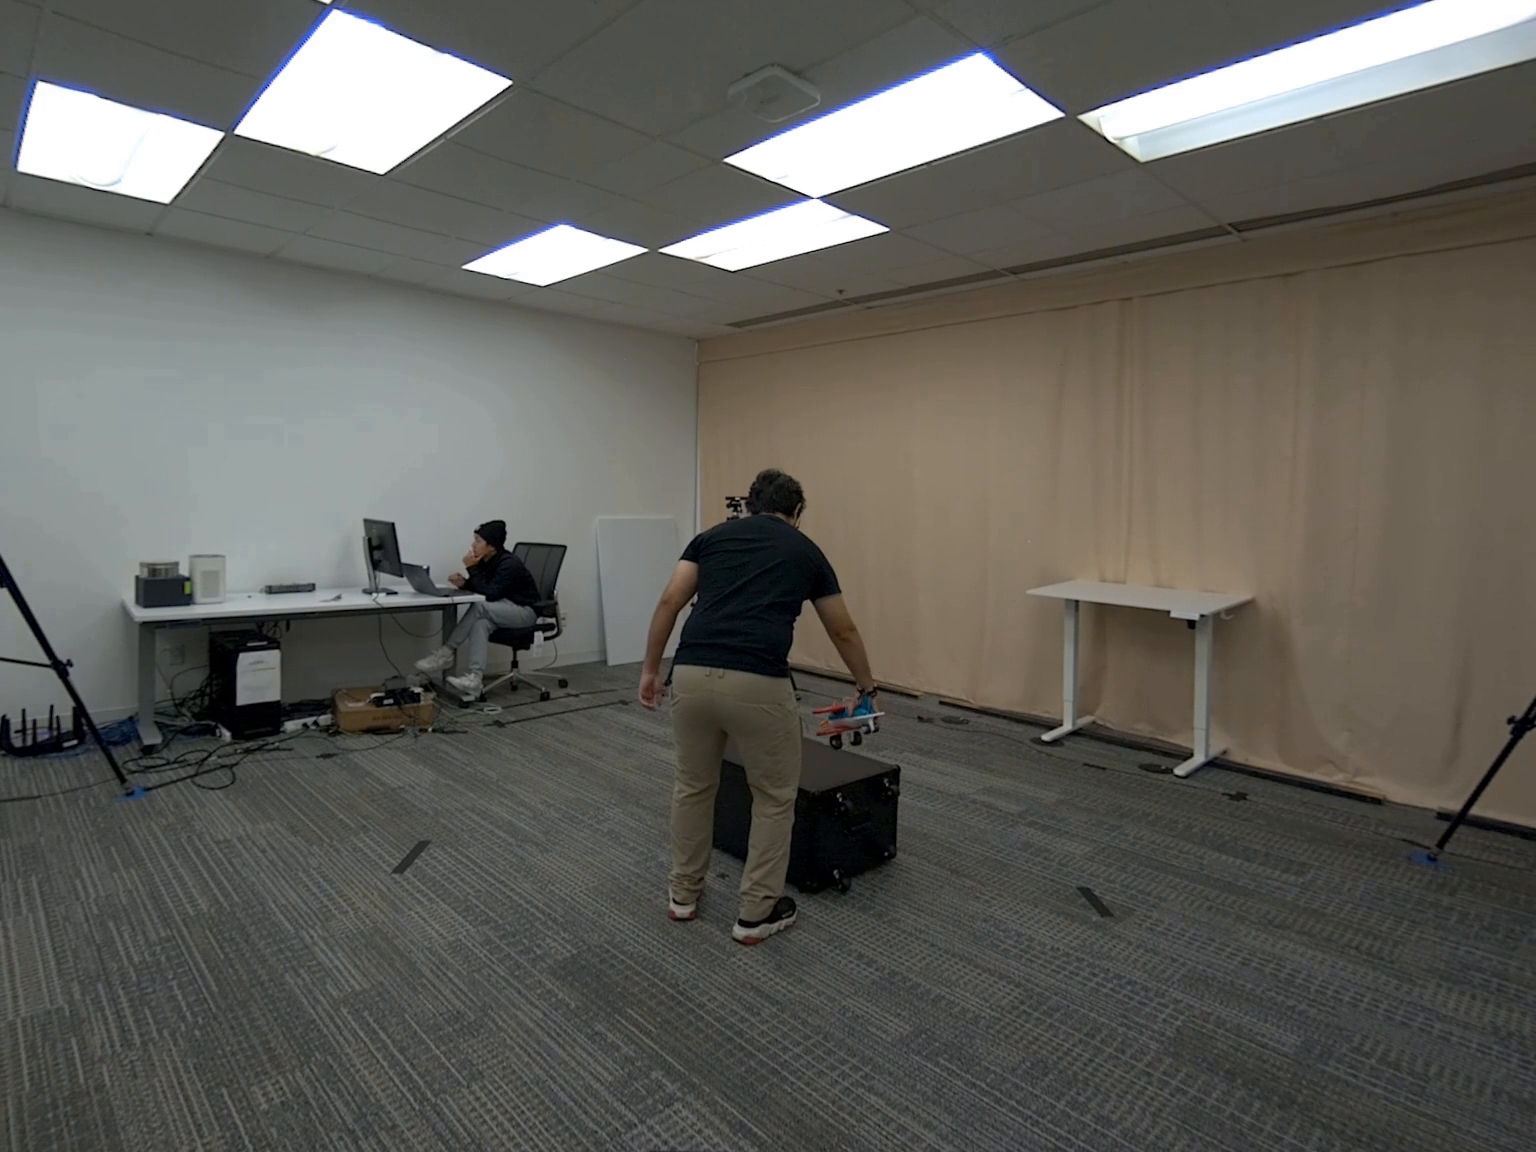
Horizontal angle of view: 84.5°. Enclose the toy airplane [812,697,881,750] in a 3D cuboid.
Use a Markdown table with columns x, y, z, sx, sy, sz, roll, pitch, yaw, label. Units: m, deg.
| x | y | z | sx | sy | sz | roll | pitch | yaw | label |
| --- | --- | --- | --- | --- | --- | --- | --- | --- | --- |
| 0.312 | 0.518 | 3.054 | 0.261 | 0.159 | 0.244 | -30 | -25 | 29 | toy airplane |
